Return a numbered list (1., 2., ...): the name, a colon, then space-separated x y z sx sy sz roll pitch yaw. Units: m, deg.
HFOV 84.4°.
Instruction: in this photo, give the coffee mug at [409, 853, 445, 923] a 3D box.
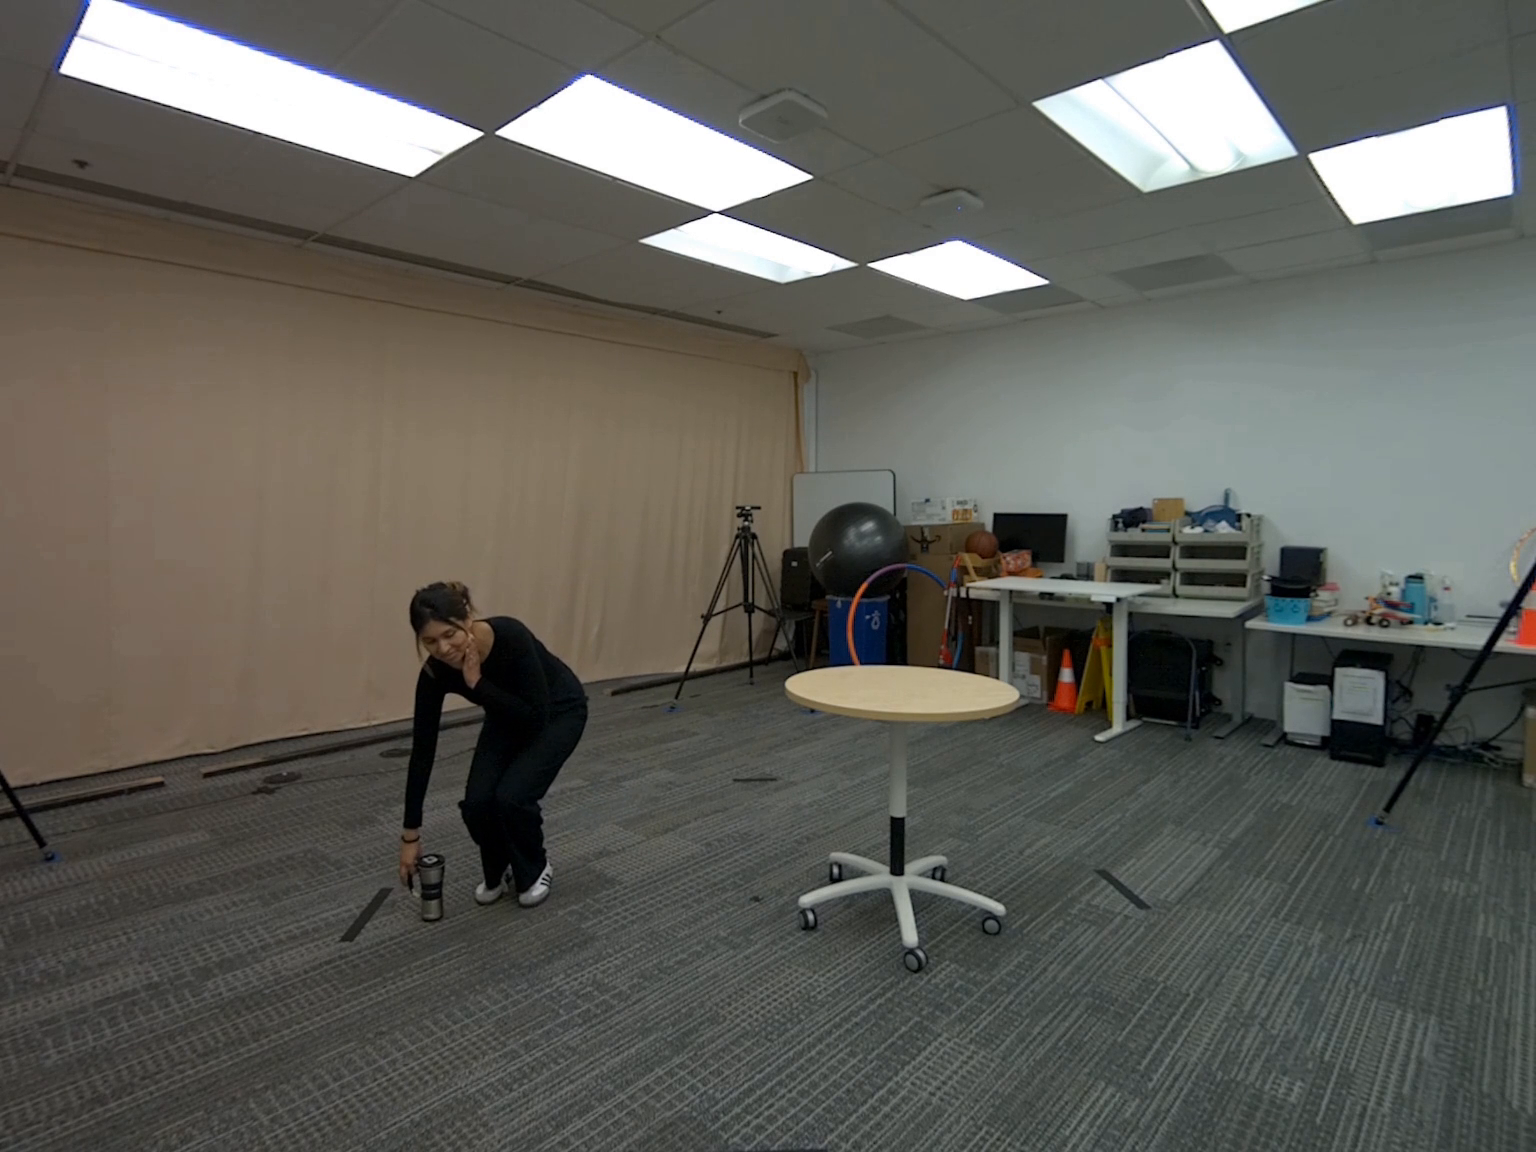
1. coffee mug: -1.167 1.071 2.878 0.085 0.202 0.126 -7 12 -42
